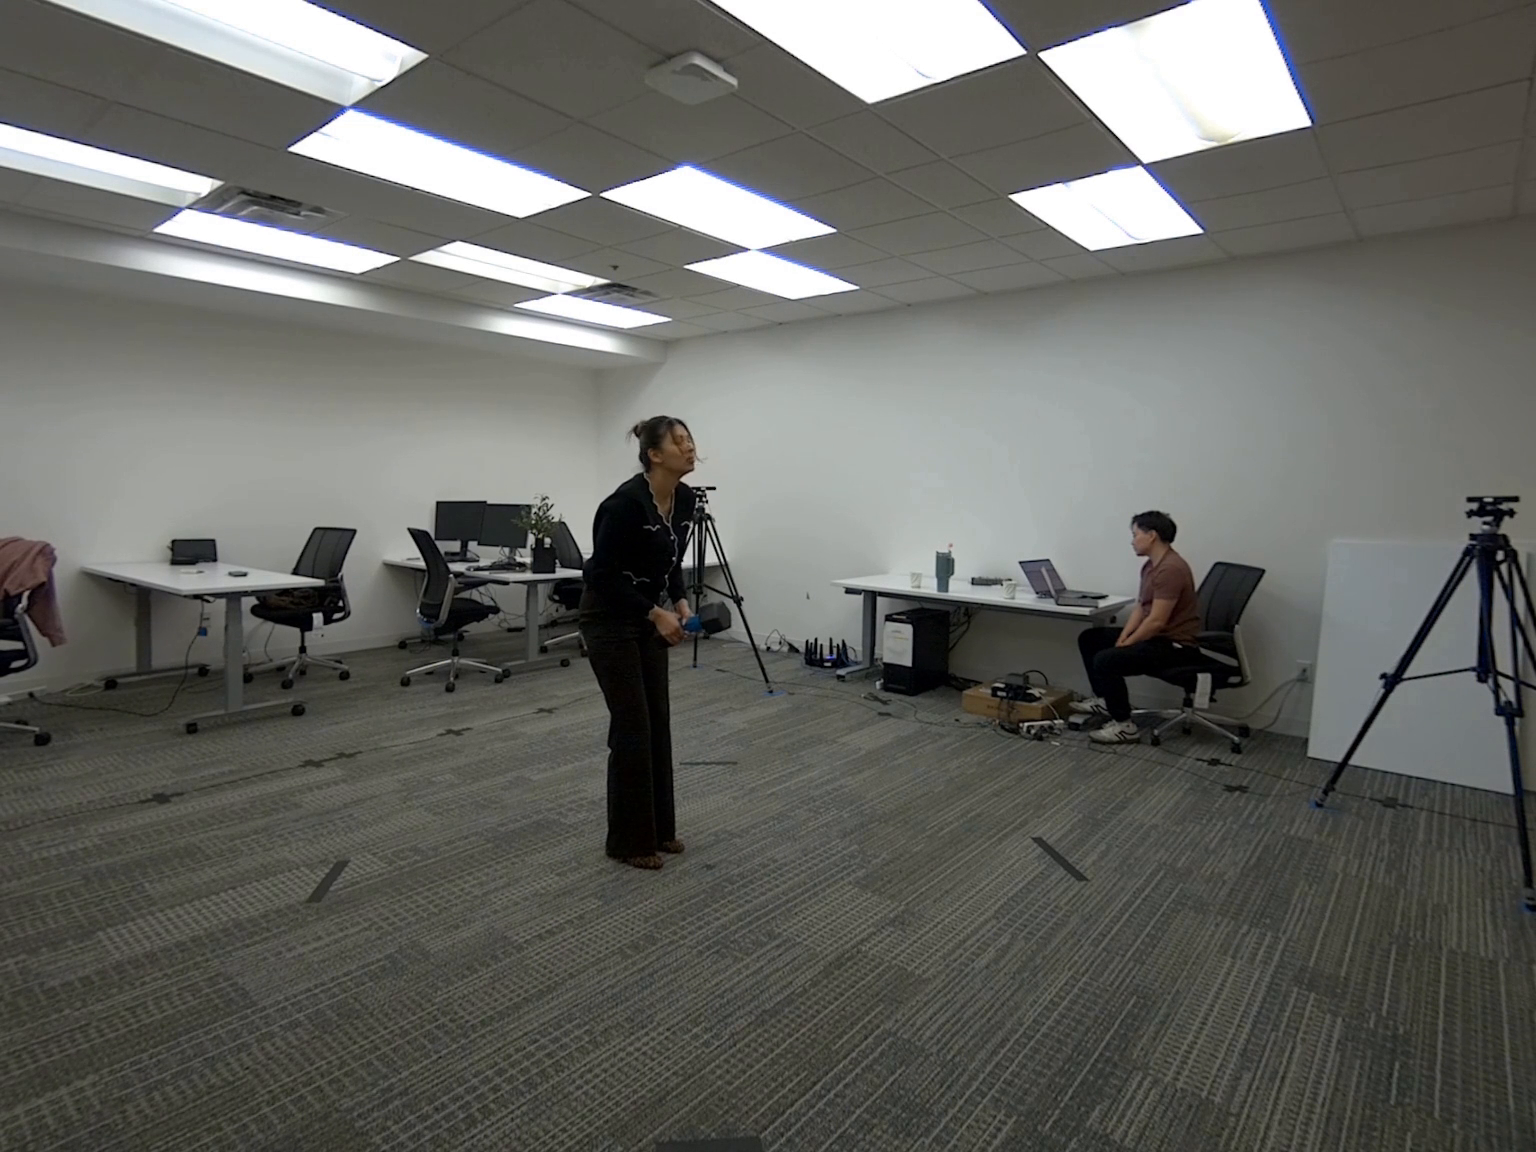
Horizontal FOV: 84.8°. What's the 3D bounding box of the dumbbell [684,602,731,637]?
[{"bbox_3d":[-0.286,0.179,3.080,0.298,0.126,0.104,-18,-30,26],"label":"dumbbell"}]
